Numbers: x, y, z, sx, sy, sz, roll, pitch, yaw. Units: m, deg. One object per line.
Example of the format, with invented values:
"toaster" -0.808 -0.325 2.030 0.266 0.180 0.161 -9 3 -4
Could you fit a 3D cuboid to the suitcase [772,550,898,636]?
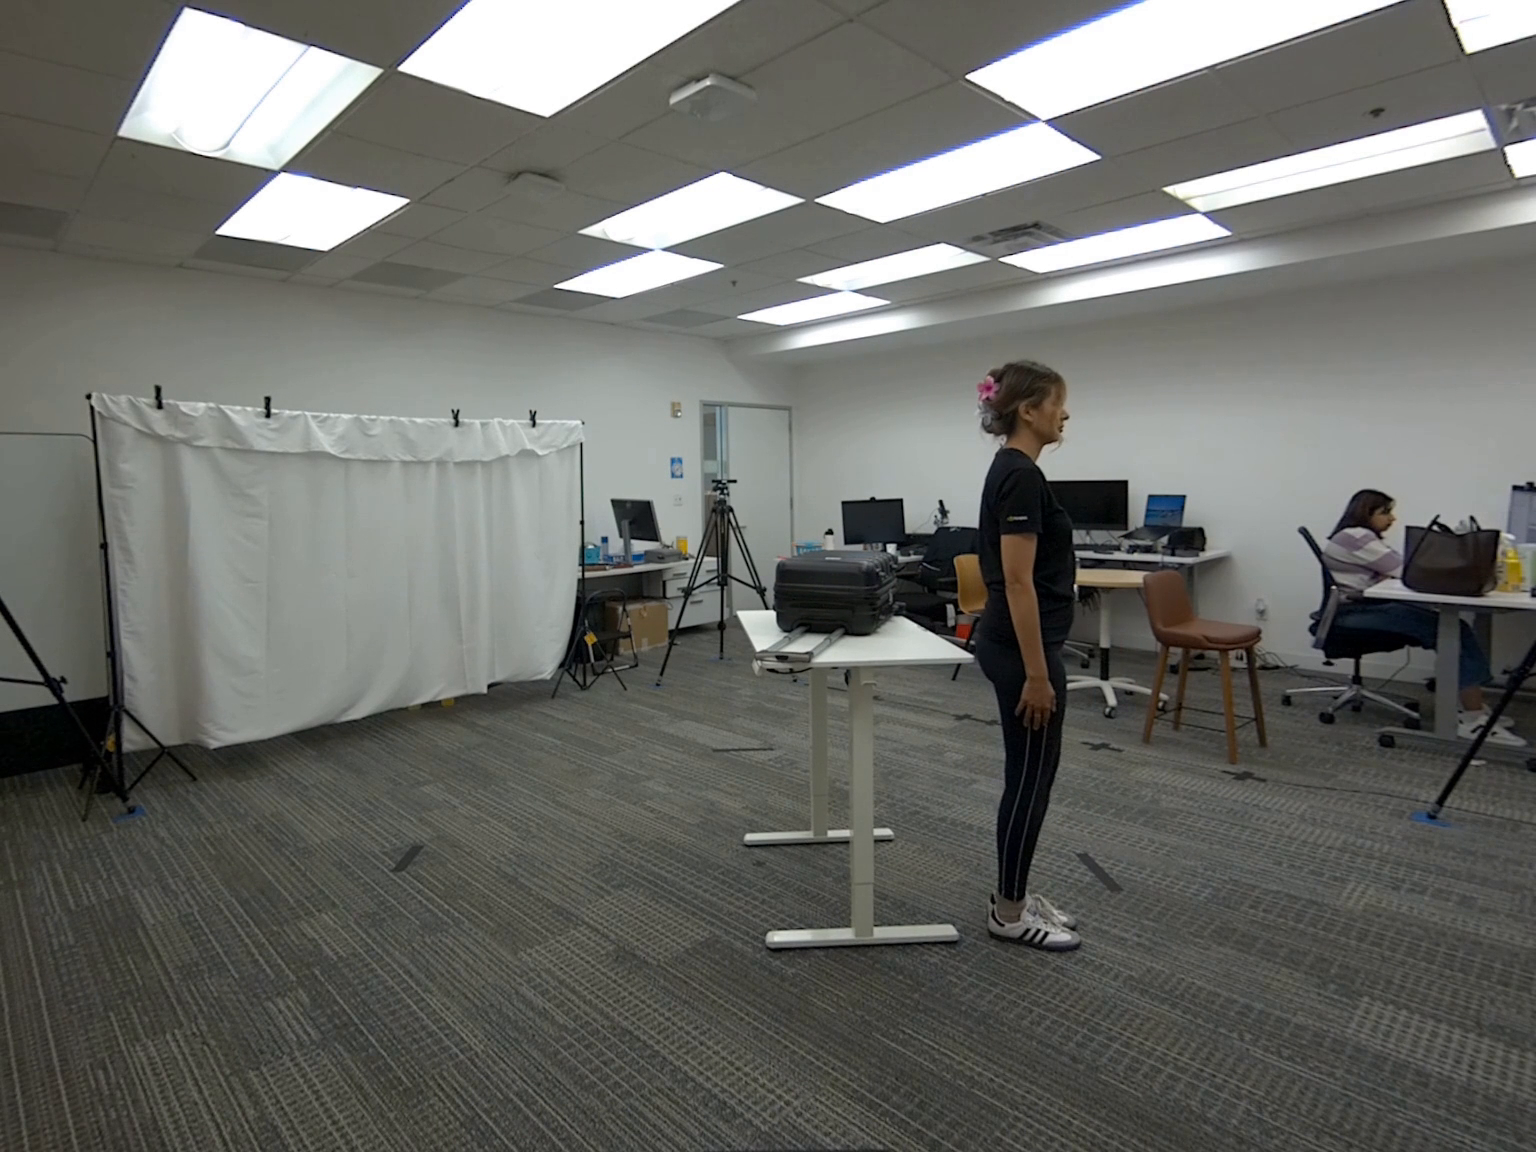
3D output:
"suitcase" 0.185 0.068 2.842 0.391 0.256 0.964 3 6 18
